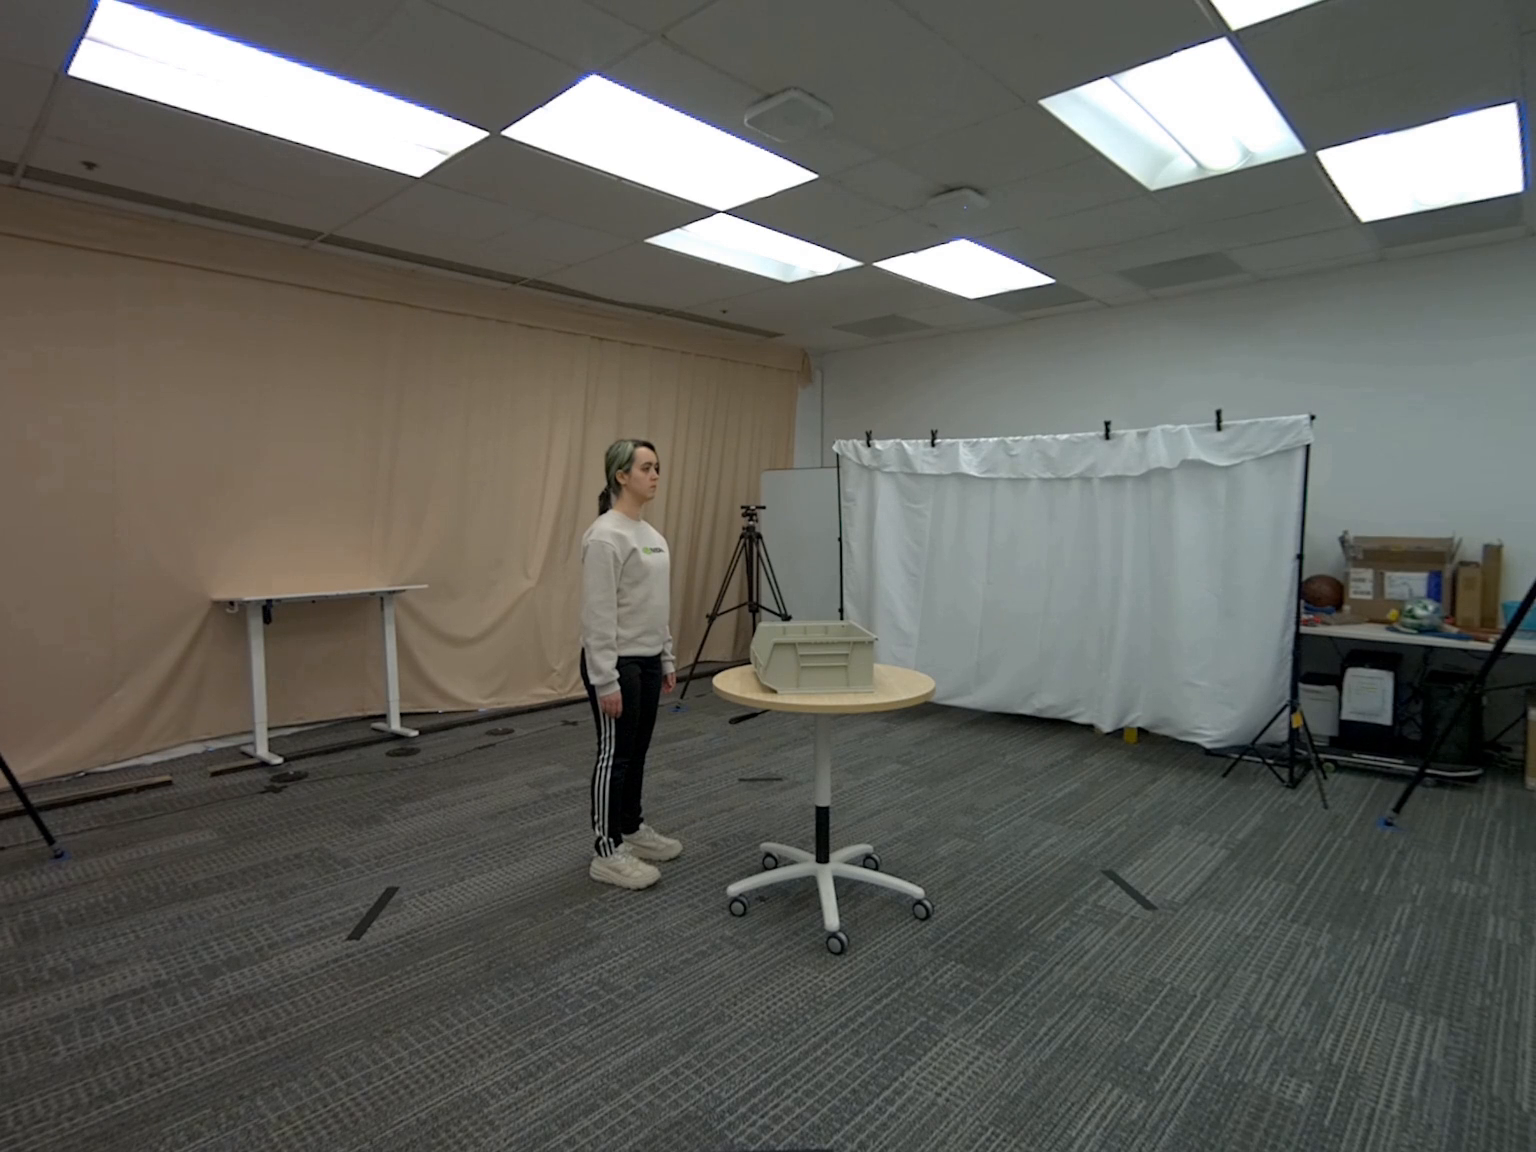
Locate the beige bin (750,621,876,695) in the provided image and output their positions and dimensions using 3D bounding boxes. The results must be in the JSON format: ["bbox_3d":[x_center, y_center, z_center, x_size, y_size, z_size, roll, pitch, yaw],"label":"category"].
[{"bbox_3d":[0.137,0.287,2.914,0.376,0.188,0.425,-3,4,-5],"label":"beige bin"}]
